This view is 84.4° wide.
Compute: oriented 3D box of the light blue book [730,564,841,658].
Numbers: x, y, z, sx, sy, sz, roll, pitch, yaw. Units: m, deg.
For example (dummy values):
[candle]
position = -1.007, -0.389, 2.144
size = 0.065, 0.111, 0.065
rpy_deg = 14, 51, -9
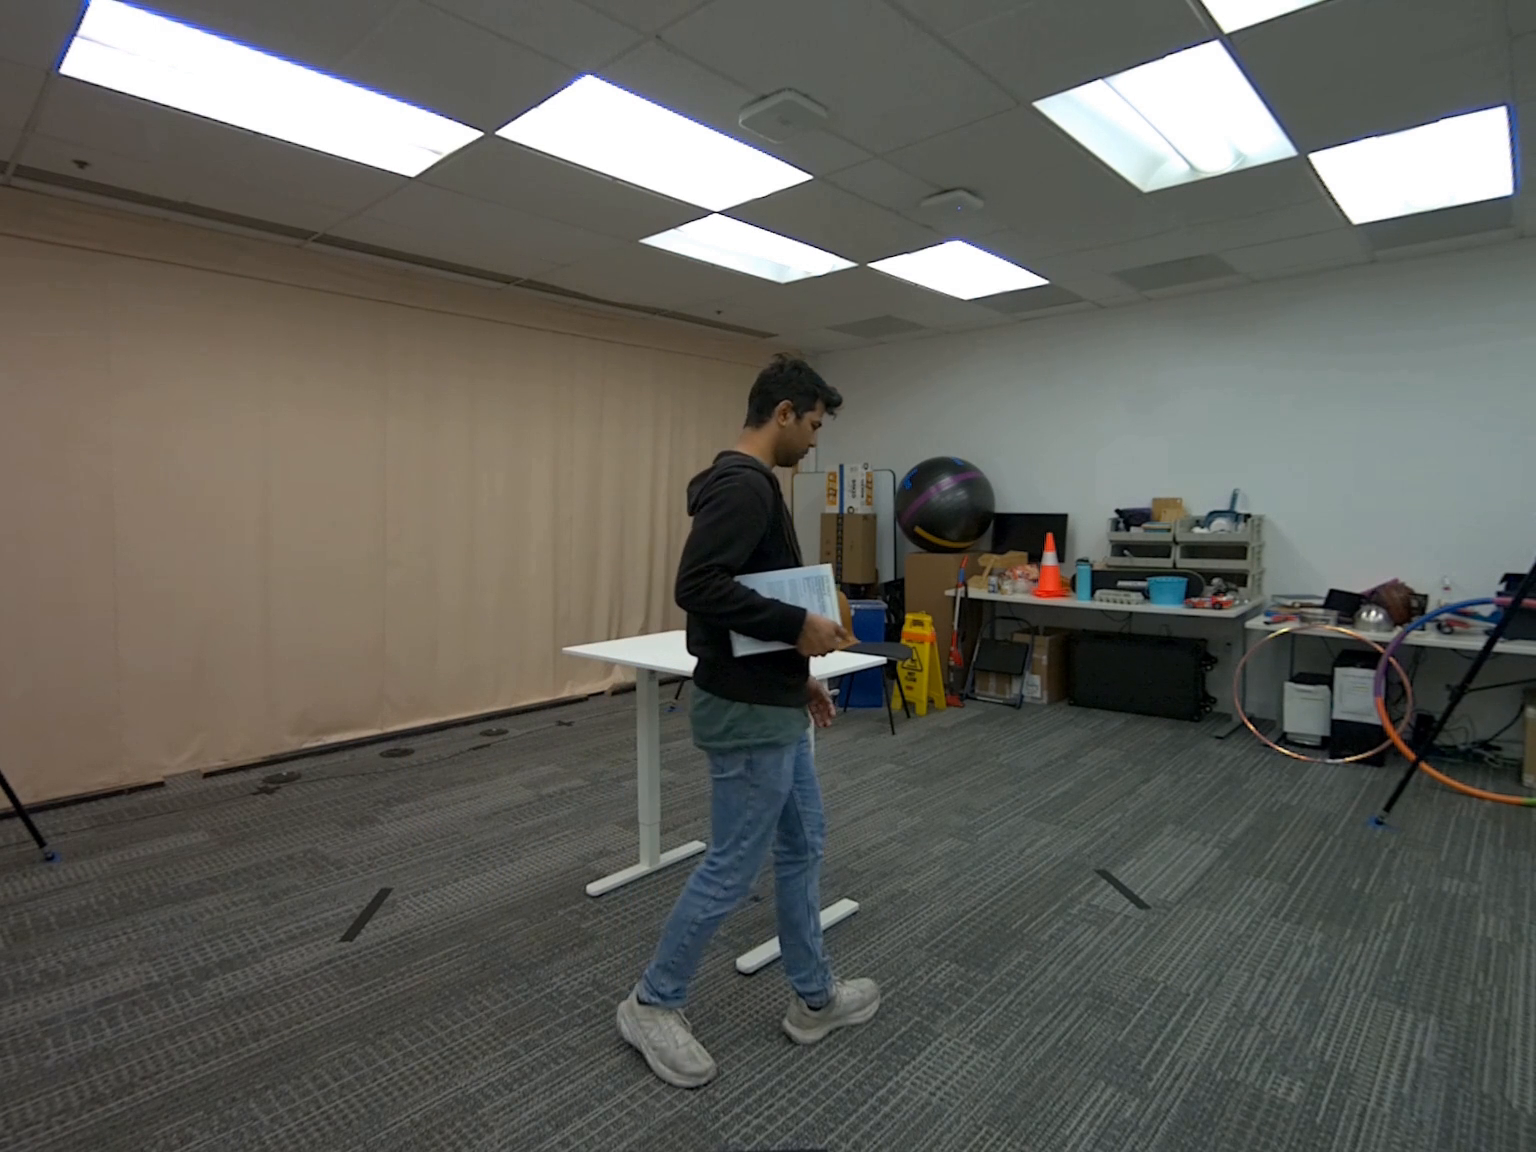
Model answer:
[light blue book]
position = 0.034, 0.080, 2.042
size = 0.260, 0.192, 0.059
rpy_deg = -8, -5, -2
